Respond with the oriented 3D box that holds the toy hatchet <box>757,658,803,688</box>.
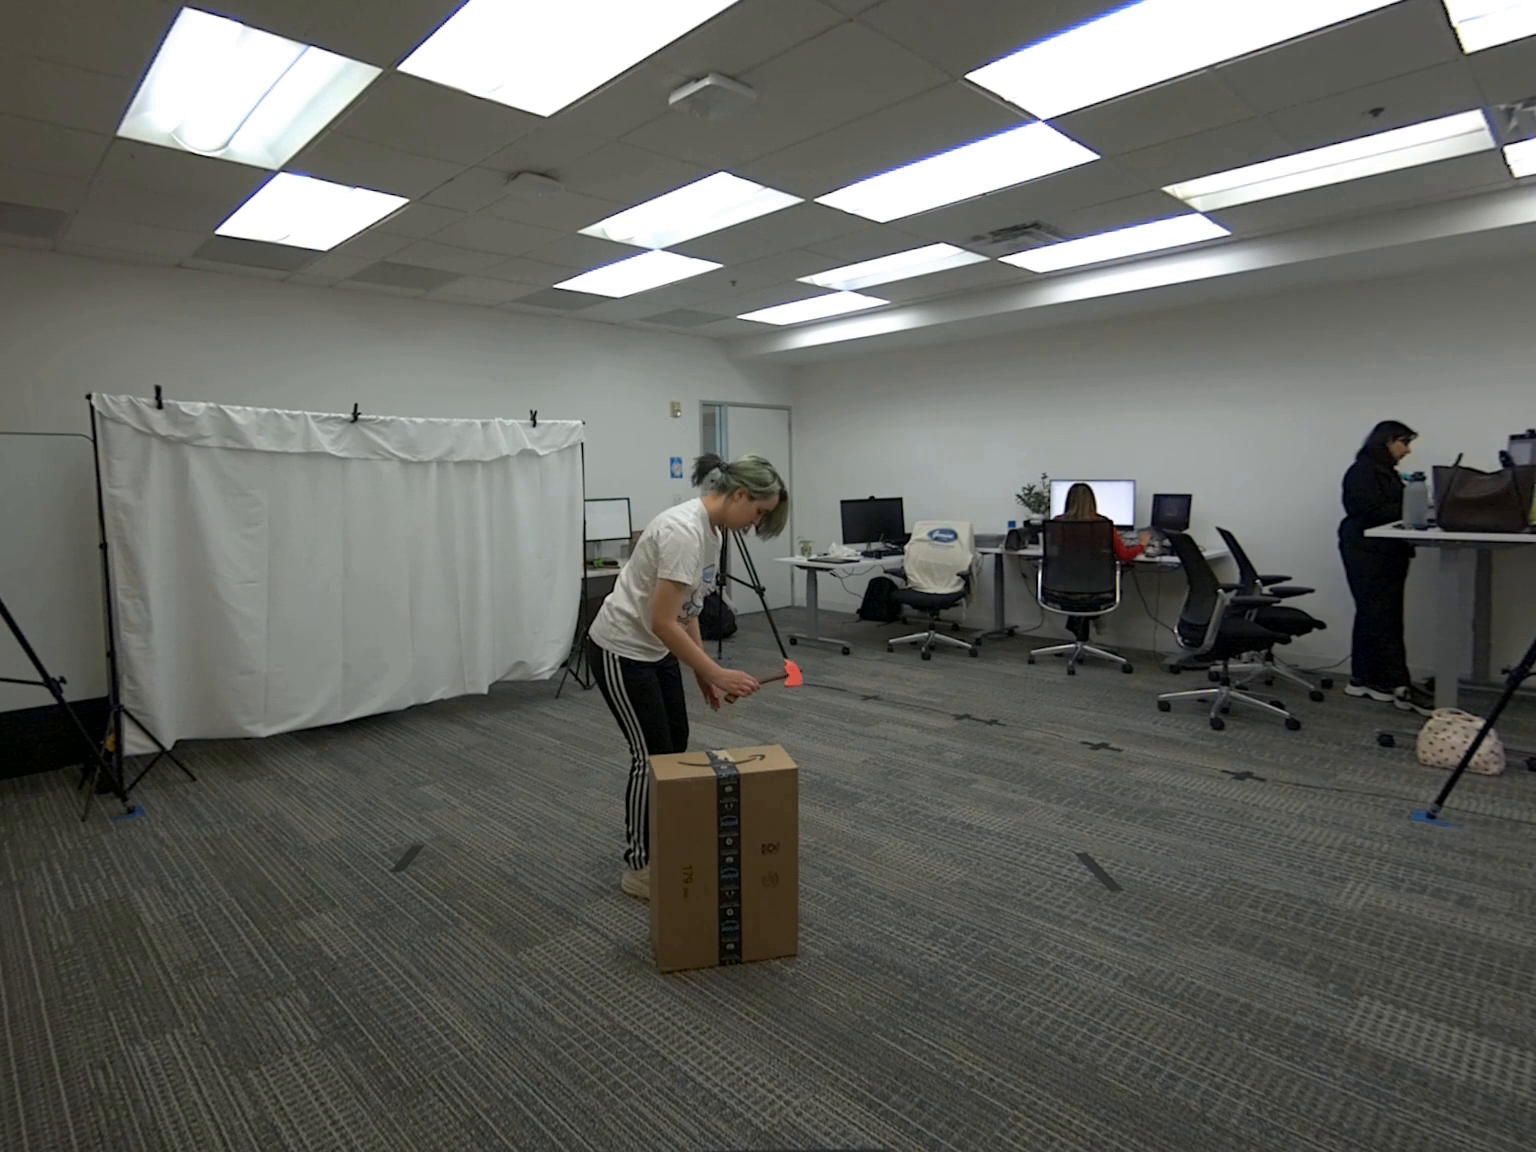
[{"bbox_3d":[-0.006,0.362,2.722,0.267,0.029,0.136,-24,39,-26],"label":"toy hatchet"}]
